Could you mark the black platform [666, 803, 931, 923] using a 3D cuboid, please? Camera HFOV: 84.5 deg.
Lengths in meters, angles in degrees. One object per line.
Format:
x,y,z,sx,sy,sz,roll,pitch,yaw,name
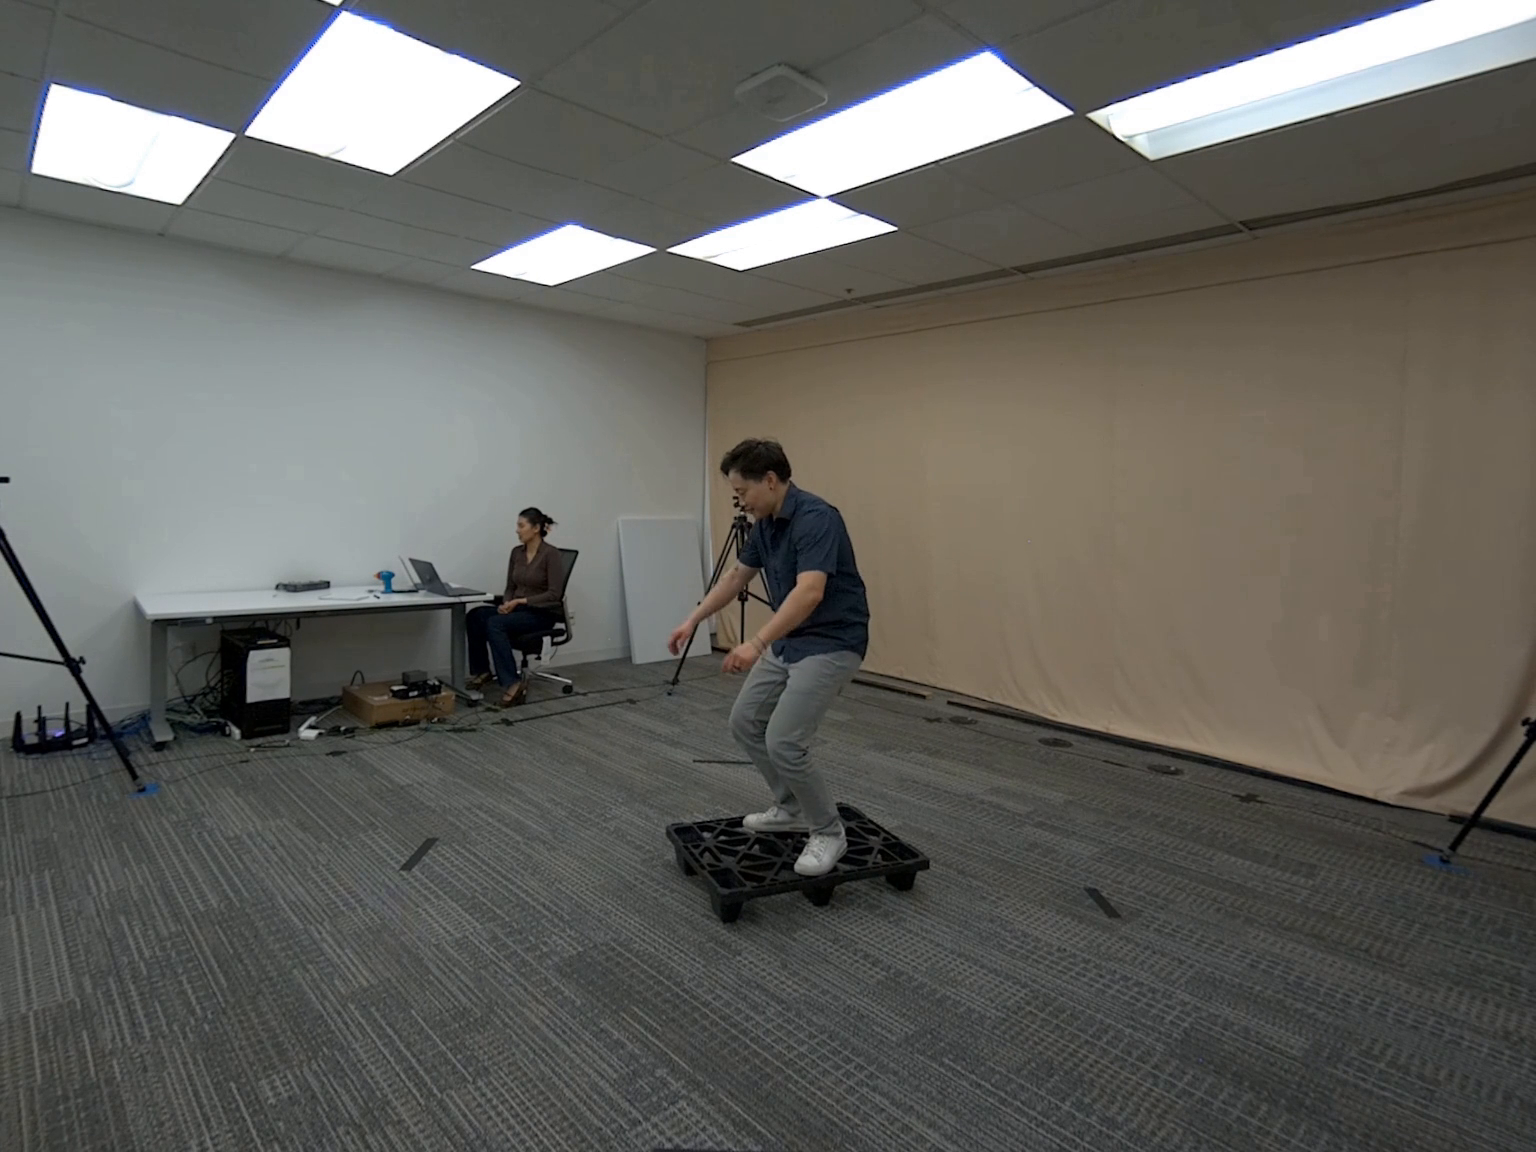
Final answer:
0.089,1.042,3.092,0.792,0.143,0.617,-1,6,-23,black platform
